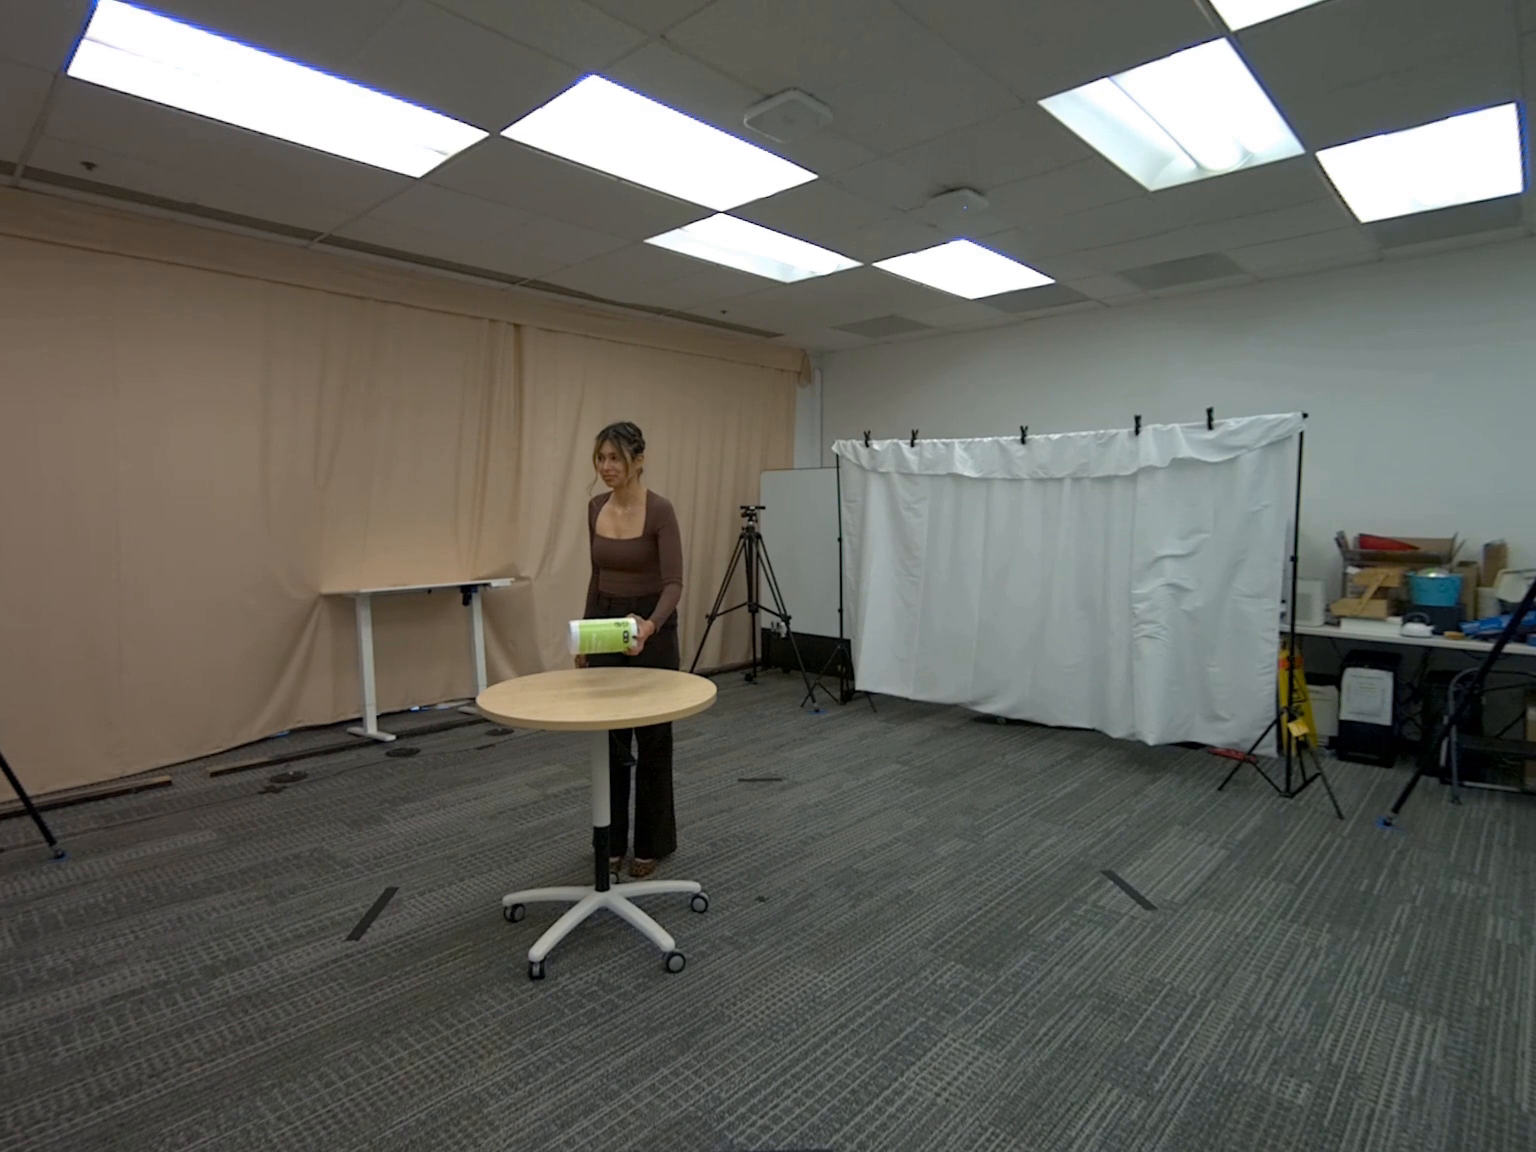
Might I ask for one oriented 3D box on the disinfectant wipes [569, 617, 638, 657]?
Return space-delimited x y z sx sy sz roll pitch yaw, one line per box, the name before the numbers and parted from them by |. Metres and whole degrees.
disinfectant wipes | -0.536 0.194 2.731 0.213 0.117 0.120 -1 4 -19
